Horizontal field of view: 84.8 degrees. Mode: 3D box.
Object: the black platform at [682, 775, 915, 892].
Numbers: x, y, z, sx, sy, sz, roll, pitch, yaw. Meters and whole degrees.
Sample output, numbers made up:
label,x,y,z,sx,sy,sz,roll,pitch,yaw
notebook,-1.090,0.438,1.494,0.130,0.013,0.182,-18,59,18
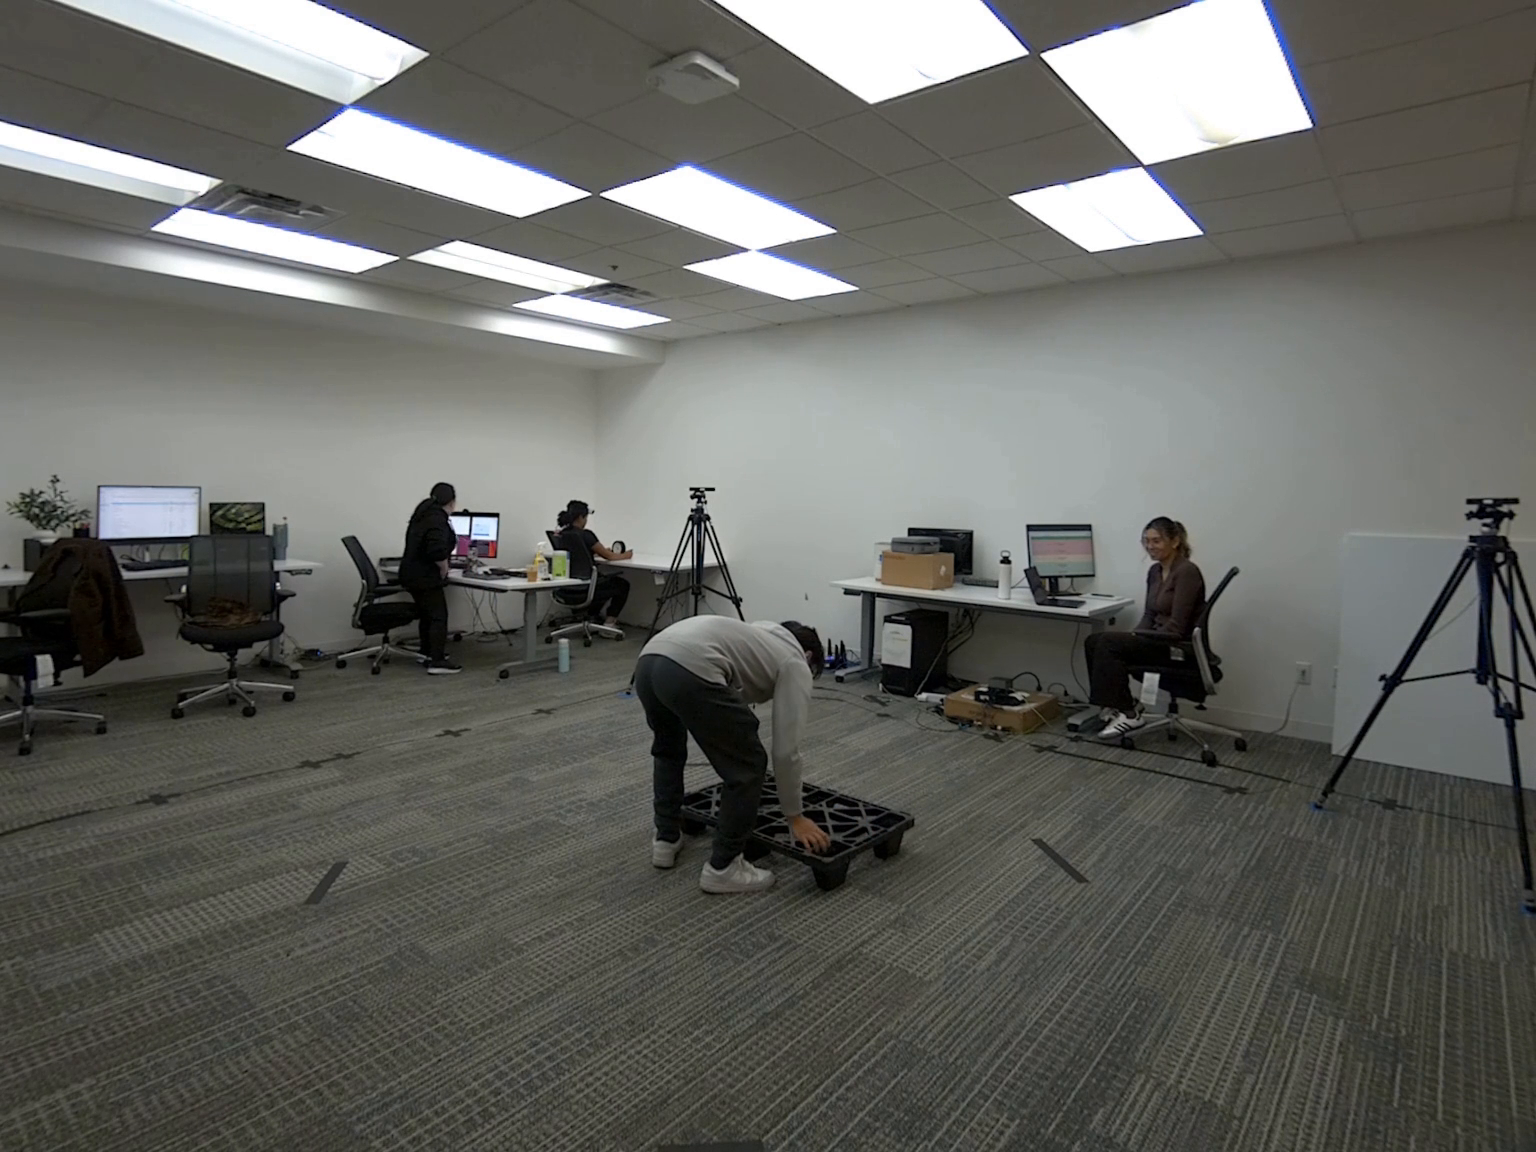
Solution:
label,x,y,z,sx,sy,sz,roll,pitch,yaw
black platform,0.072,0.979,3.364,0.833,0.143,0.587,6,7,41
